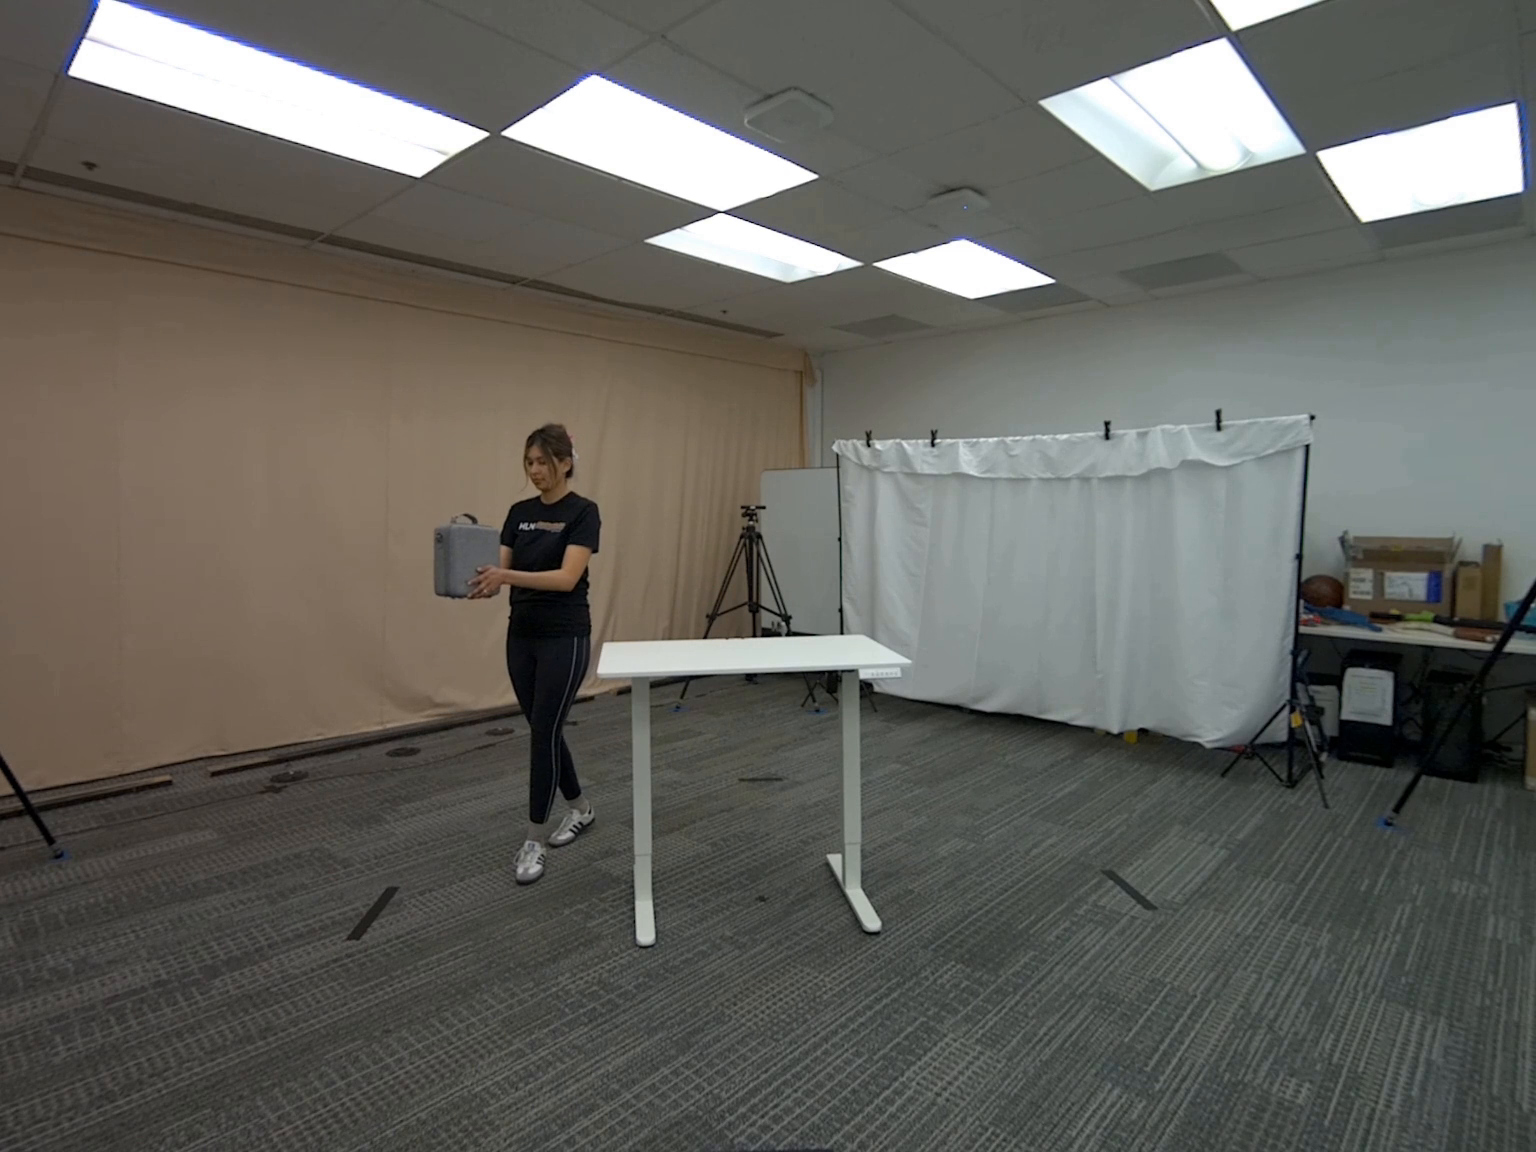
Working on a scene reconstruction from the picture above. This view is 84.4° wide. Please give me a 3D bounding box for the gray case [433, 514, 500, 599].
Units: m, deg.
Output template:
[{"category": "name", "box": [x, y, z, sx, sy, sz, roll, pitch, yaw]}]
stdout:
[{"category": "gray case", "box": [-1.056, -0.058, 2.963, 0.106, 0.261, 0.251, 0, -3, 18]}]
